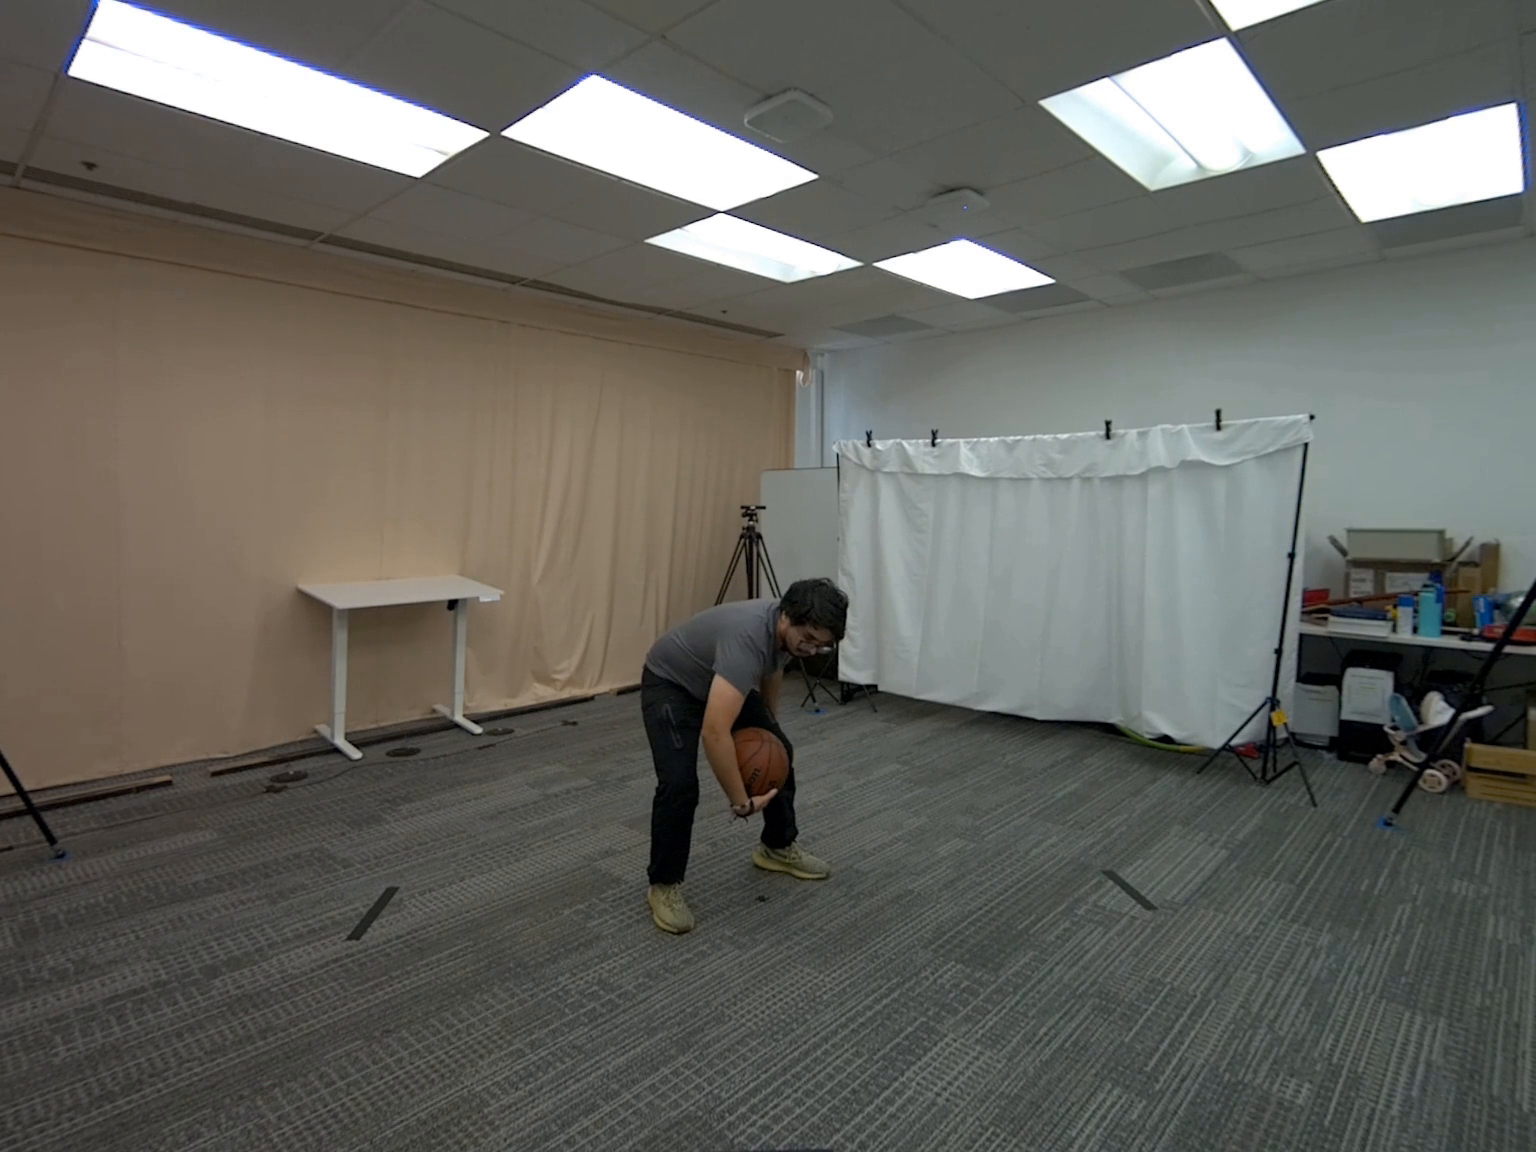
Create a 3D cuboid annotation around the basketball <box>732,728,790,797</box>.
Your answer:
[{"bbox_3d":[-0.059,0.615,2.766,0.236,0.235,0.237,0,4,-2],"label":"basketball"}]
